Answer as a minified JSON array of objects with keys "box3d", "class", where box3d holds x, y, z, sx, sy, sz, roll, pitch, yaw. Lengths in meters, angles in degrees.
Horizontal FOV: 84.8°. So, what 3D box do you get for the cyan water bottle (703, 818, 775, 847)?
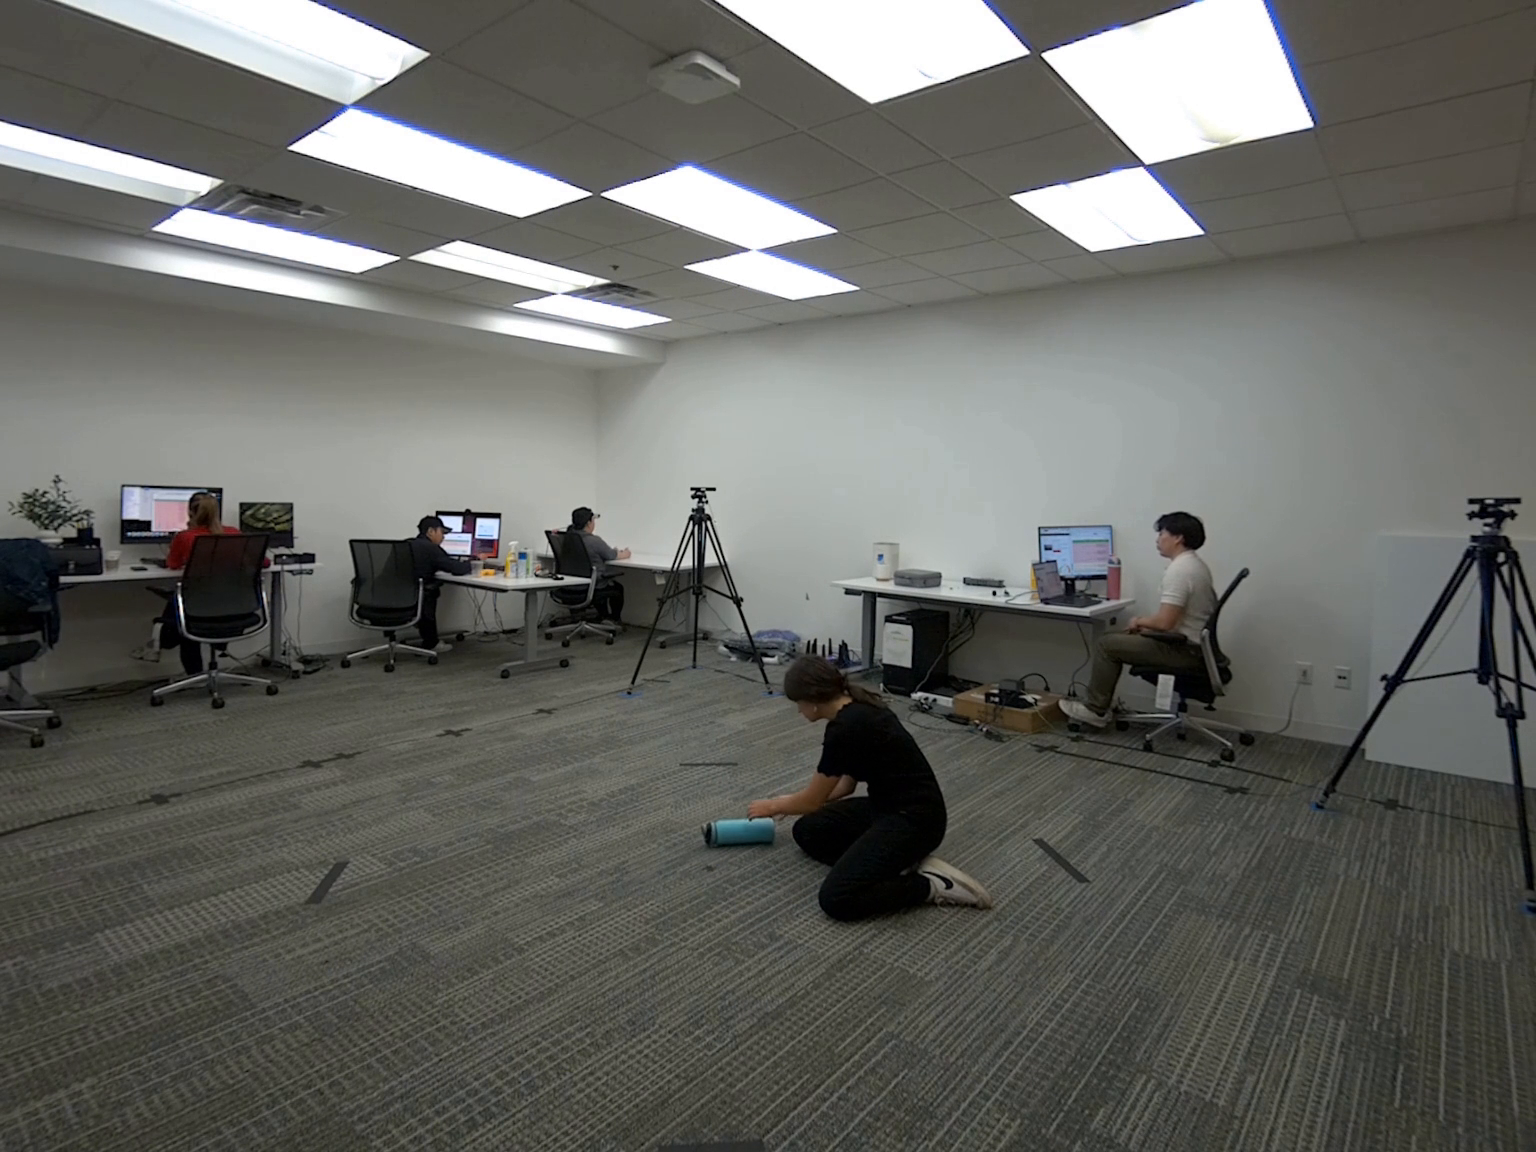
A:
[{"box3d":[-0.130,0.999,3.336,0.280,0.092,0.094,0,4,-10],"class":"cyan water bottle"}]
